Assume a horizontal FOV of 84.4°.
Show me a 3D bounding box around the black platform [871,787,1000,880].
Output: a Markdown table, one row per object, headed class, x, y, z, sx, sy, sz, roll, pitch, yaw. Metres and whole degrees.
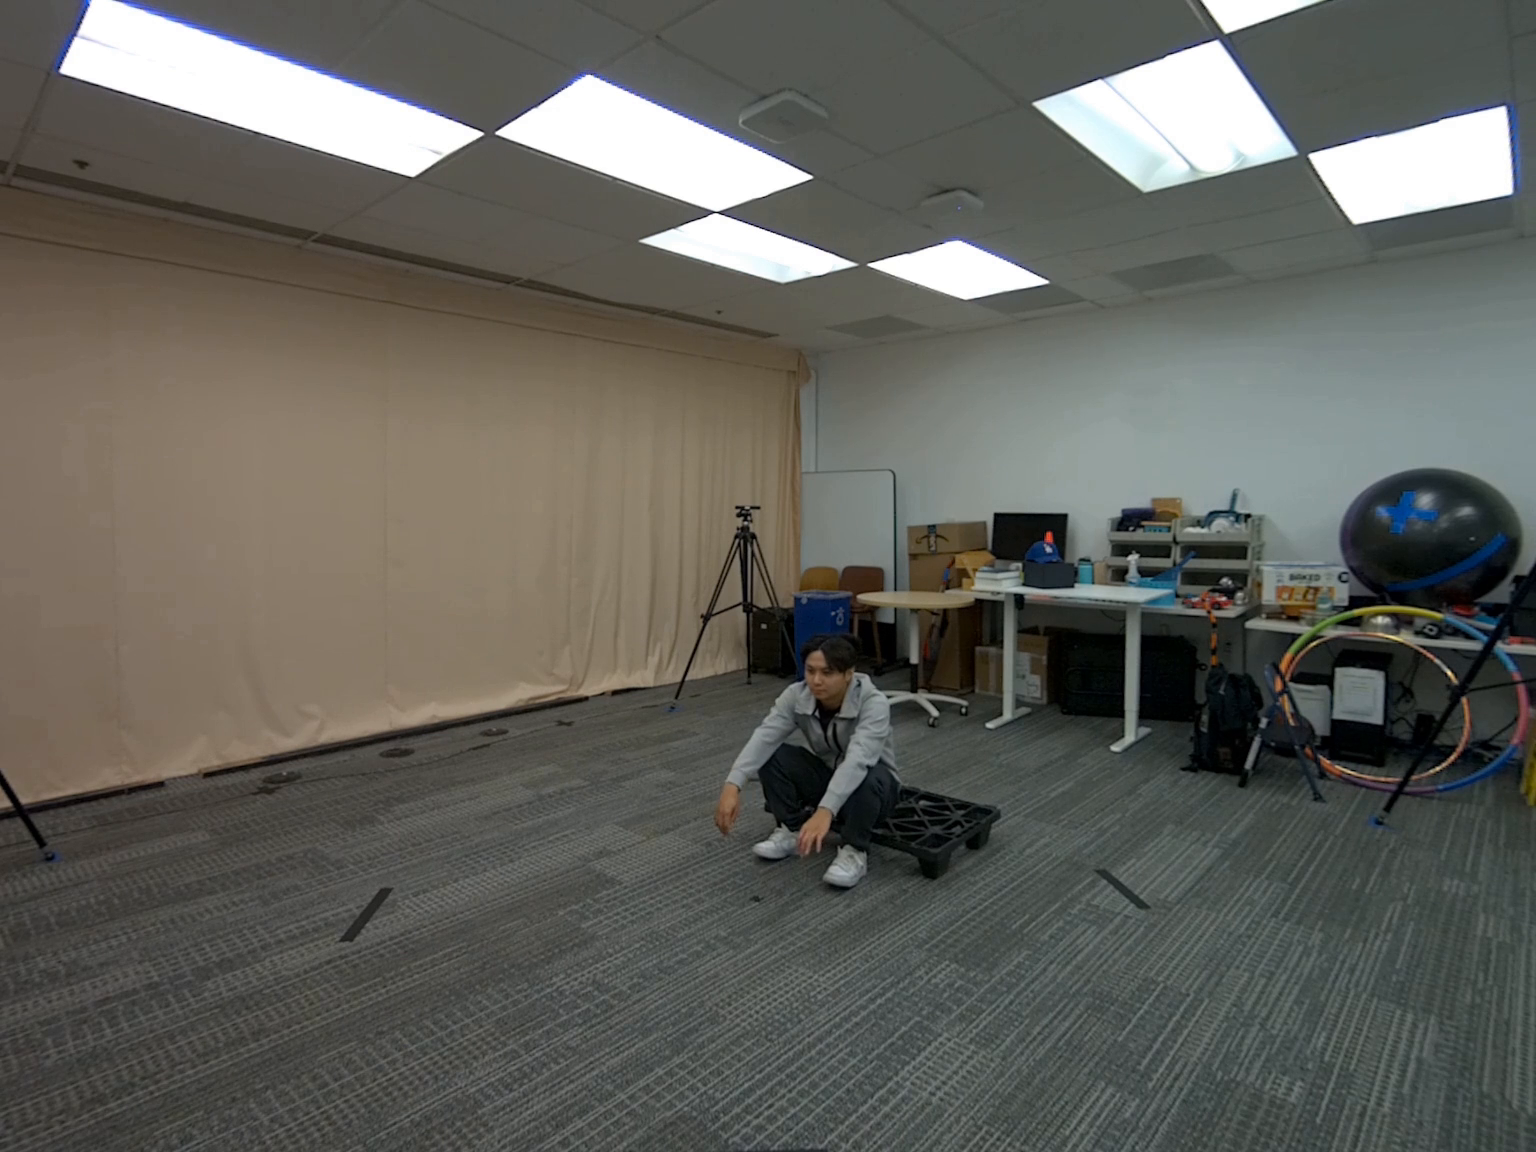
| class | x | y | z | sx | sy | sz | roll | pitch | yaw |
| --- | --- | --- | --- | --- | --- | --- | --- | --- | --- |
| black platform | 0.475 | 1.029 | 3.532 | 0.832 | 0.143 | 0.587 | 3 | 6 | 39 |
